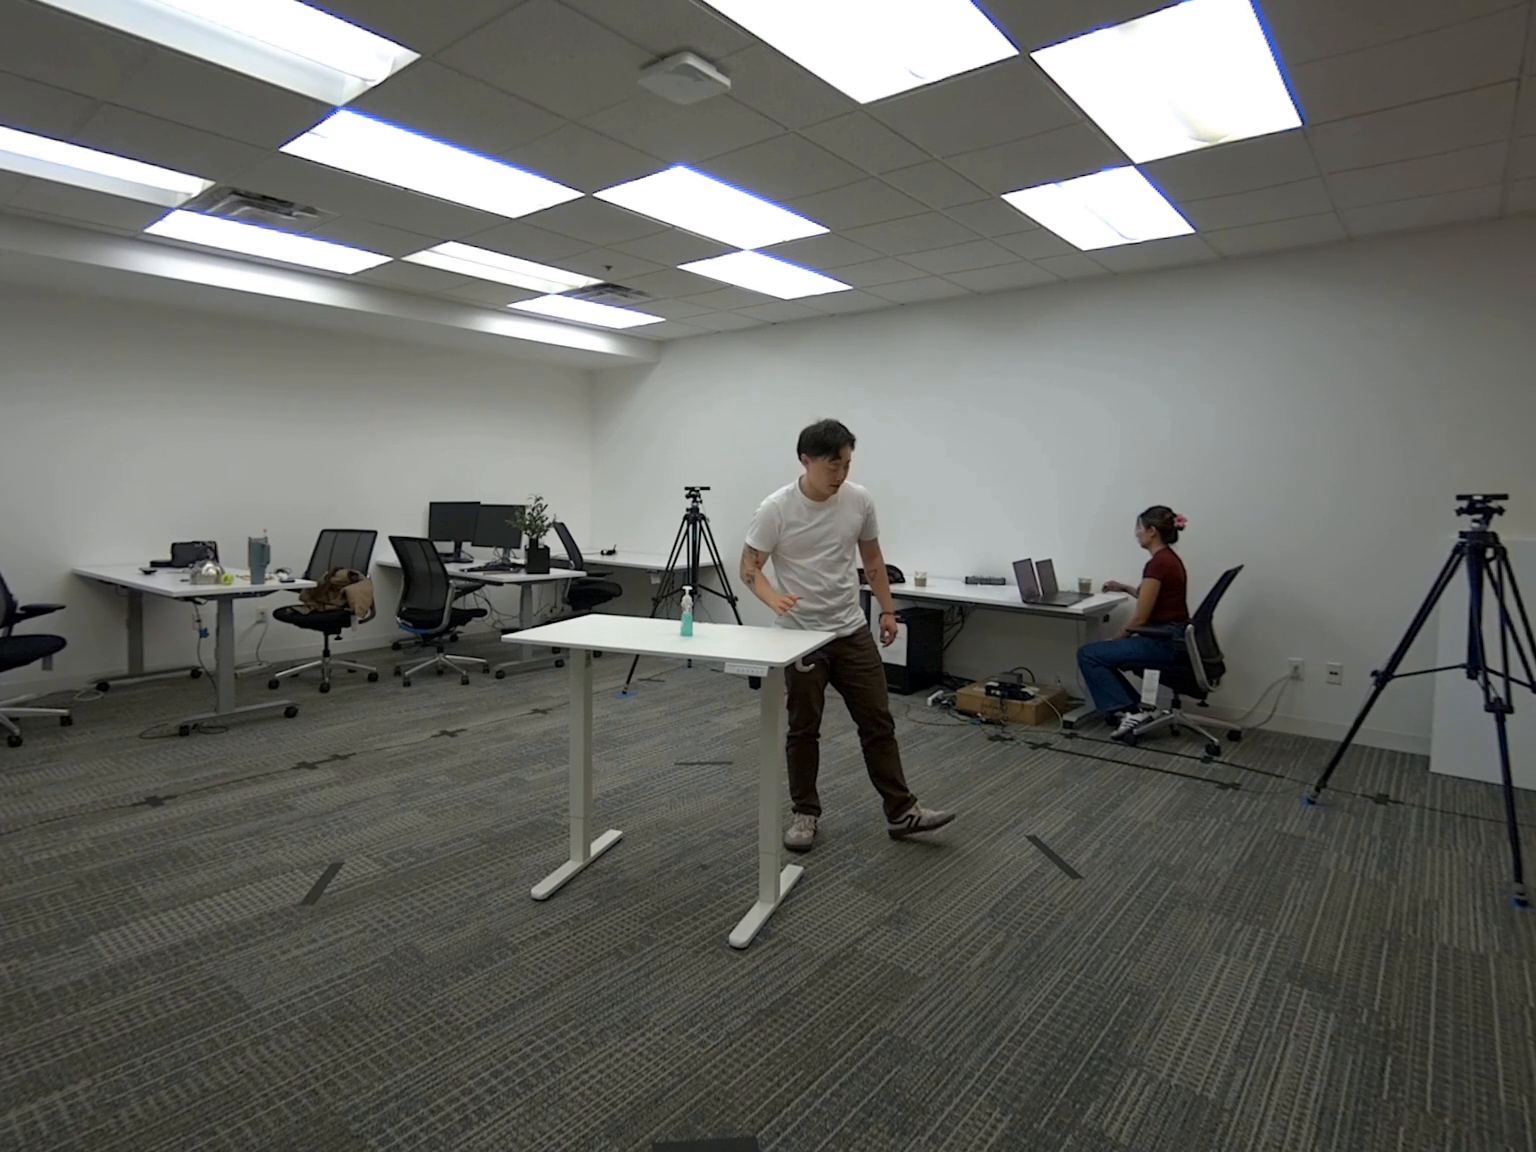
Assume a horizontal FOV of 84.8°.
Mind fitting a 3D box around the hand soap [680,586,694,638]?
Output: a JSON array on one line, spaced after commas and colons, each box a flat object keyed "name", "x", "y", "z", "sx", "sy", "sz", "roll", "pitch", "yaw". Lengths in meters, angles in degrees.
[{"name": "hand soap", "x": -0.293, "y": 0.120, "z": 2.917, "sx": 0.043, "sy": 0.167, "sz": 0.086, "roll": -2, "pitch": 7, "yaw": -12}]
